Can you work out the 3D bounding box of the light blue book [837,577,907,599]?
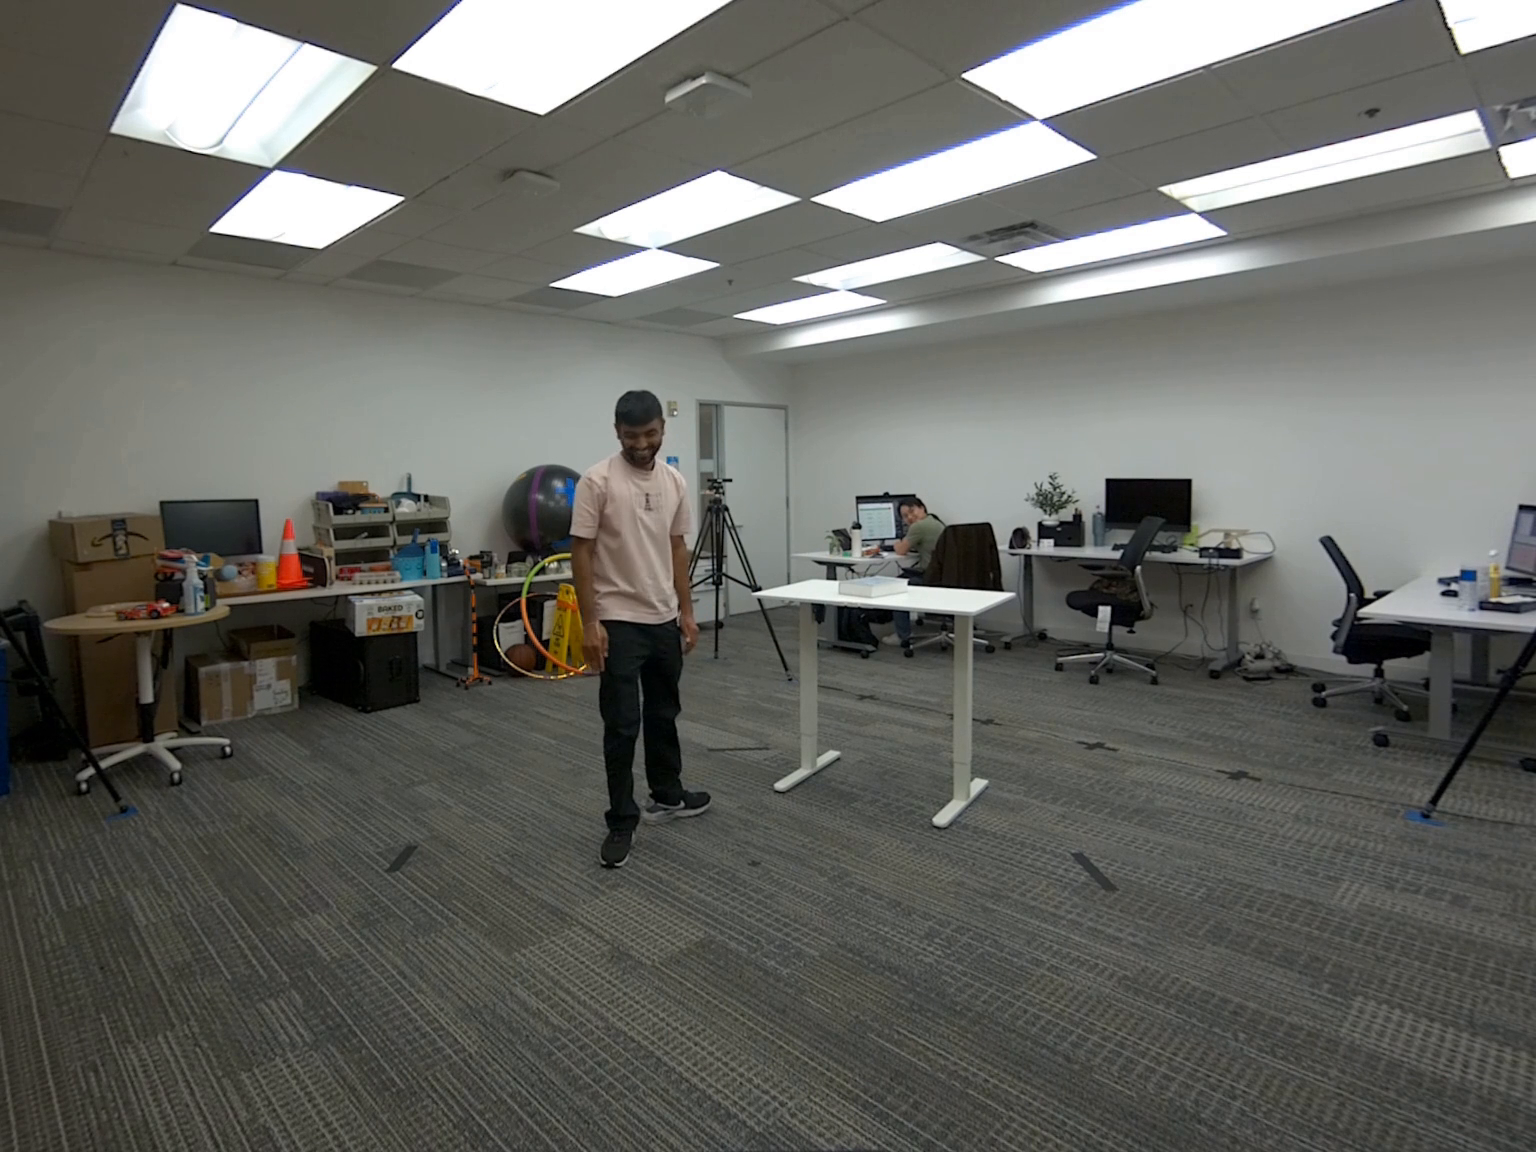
[{"bbox_3d":[0.478,0.046,3.794,0.254,0.059,0.197,-7,9,-44],"label":"light blue book"}]
